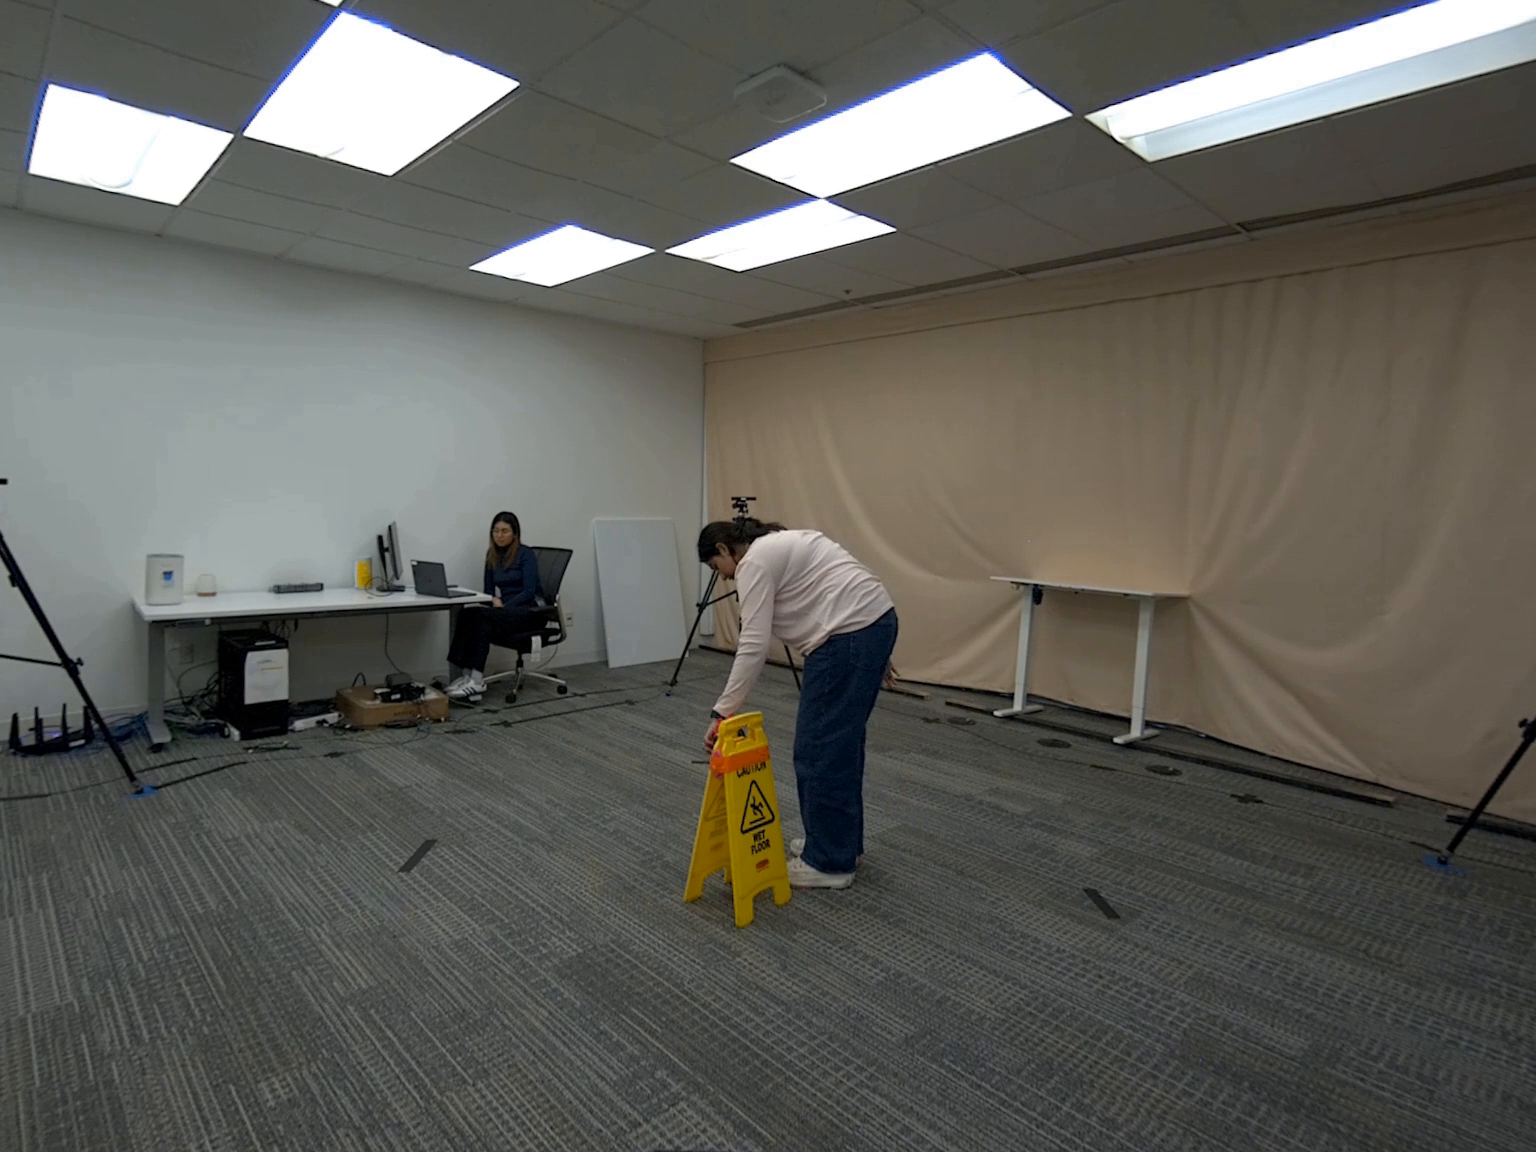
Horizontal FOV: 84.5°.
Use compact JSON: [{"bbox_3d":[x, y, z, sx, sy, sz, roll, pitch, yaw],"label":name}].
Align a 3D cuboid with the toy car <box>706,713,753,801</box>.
[{"bbox_3d":[-0.133,0.622,2.933,0.128,0.252,0.085,-11,14,-43],"label":"toy car"}]
